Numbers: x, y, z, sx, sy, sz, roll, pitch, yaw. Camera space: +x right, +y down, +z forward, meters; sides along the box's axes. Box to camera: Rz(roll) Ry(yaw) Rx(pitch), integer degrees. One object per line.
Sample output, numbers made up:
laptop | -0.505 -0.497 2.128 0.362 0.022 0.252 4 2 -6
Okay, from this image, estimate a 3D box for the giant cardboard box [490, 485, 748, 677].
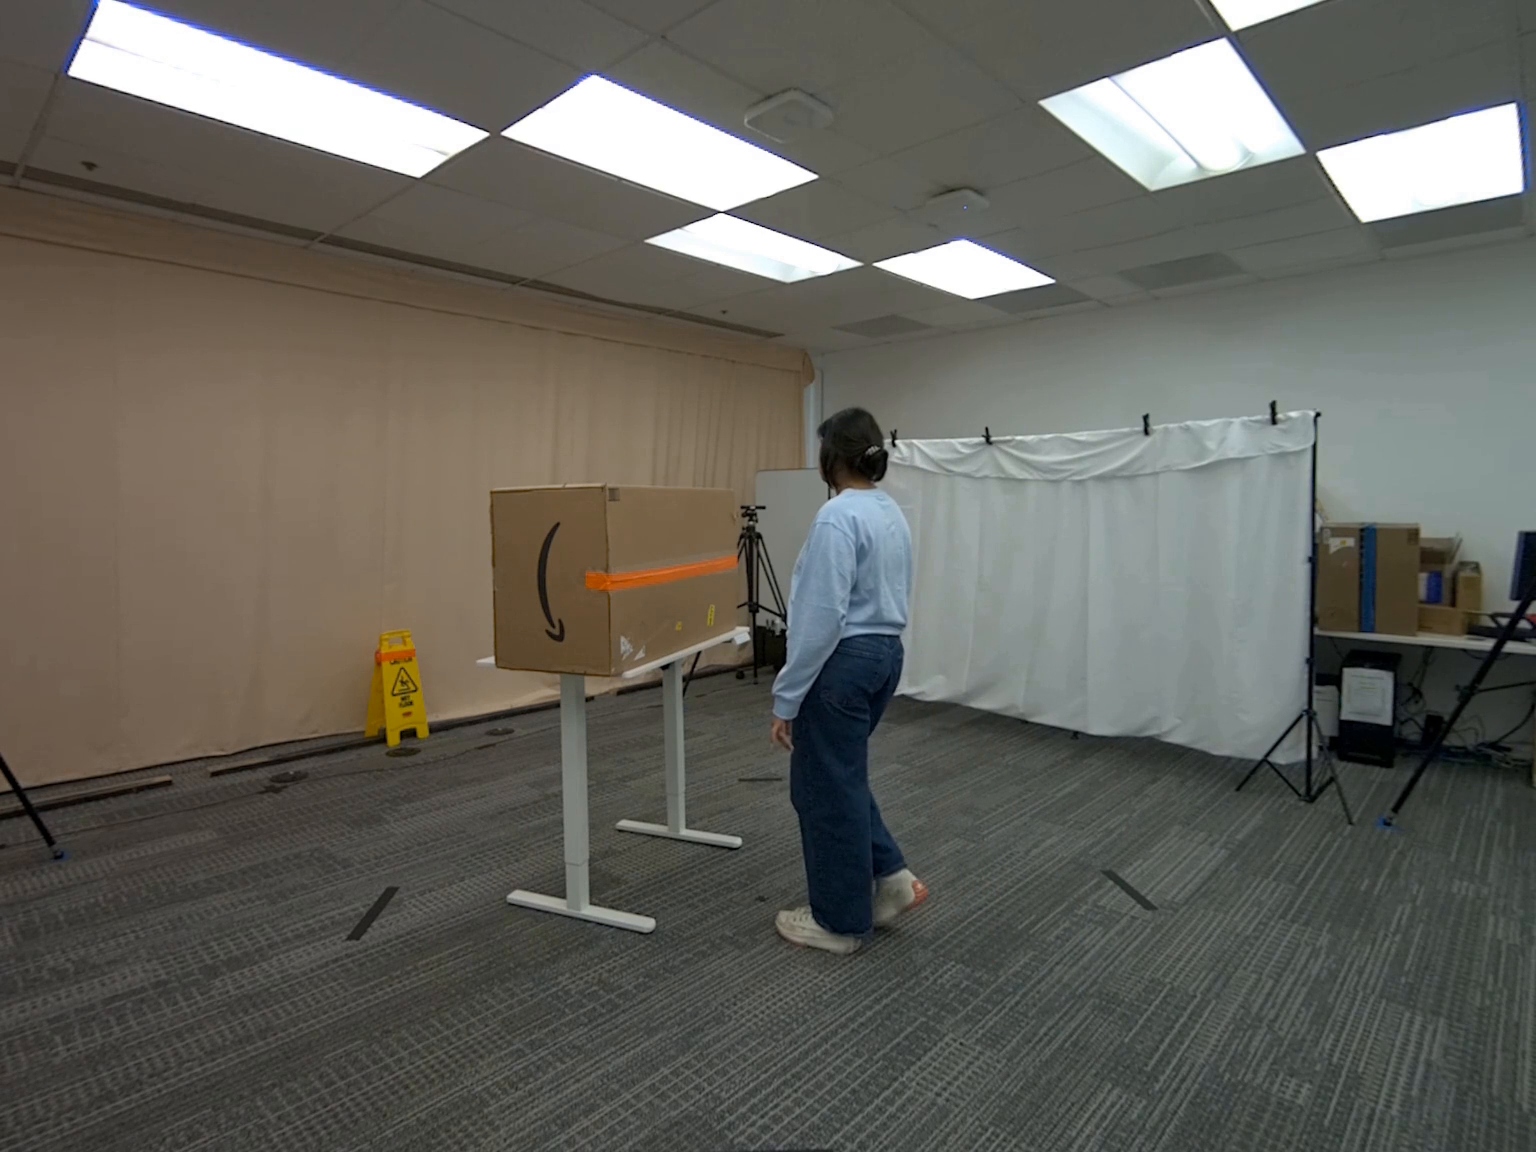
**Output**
giant cardboard box | -0.501 -0.026 3.059 0.436 0.576 1.005 0 5 22
